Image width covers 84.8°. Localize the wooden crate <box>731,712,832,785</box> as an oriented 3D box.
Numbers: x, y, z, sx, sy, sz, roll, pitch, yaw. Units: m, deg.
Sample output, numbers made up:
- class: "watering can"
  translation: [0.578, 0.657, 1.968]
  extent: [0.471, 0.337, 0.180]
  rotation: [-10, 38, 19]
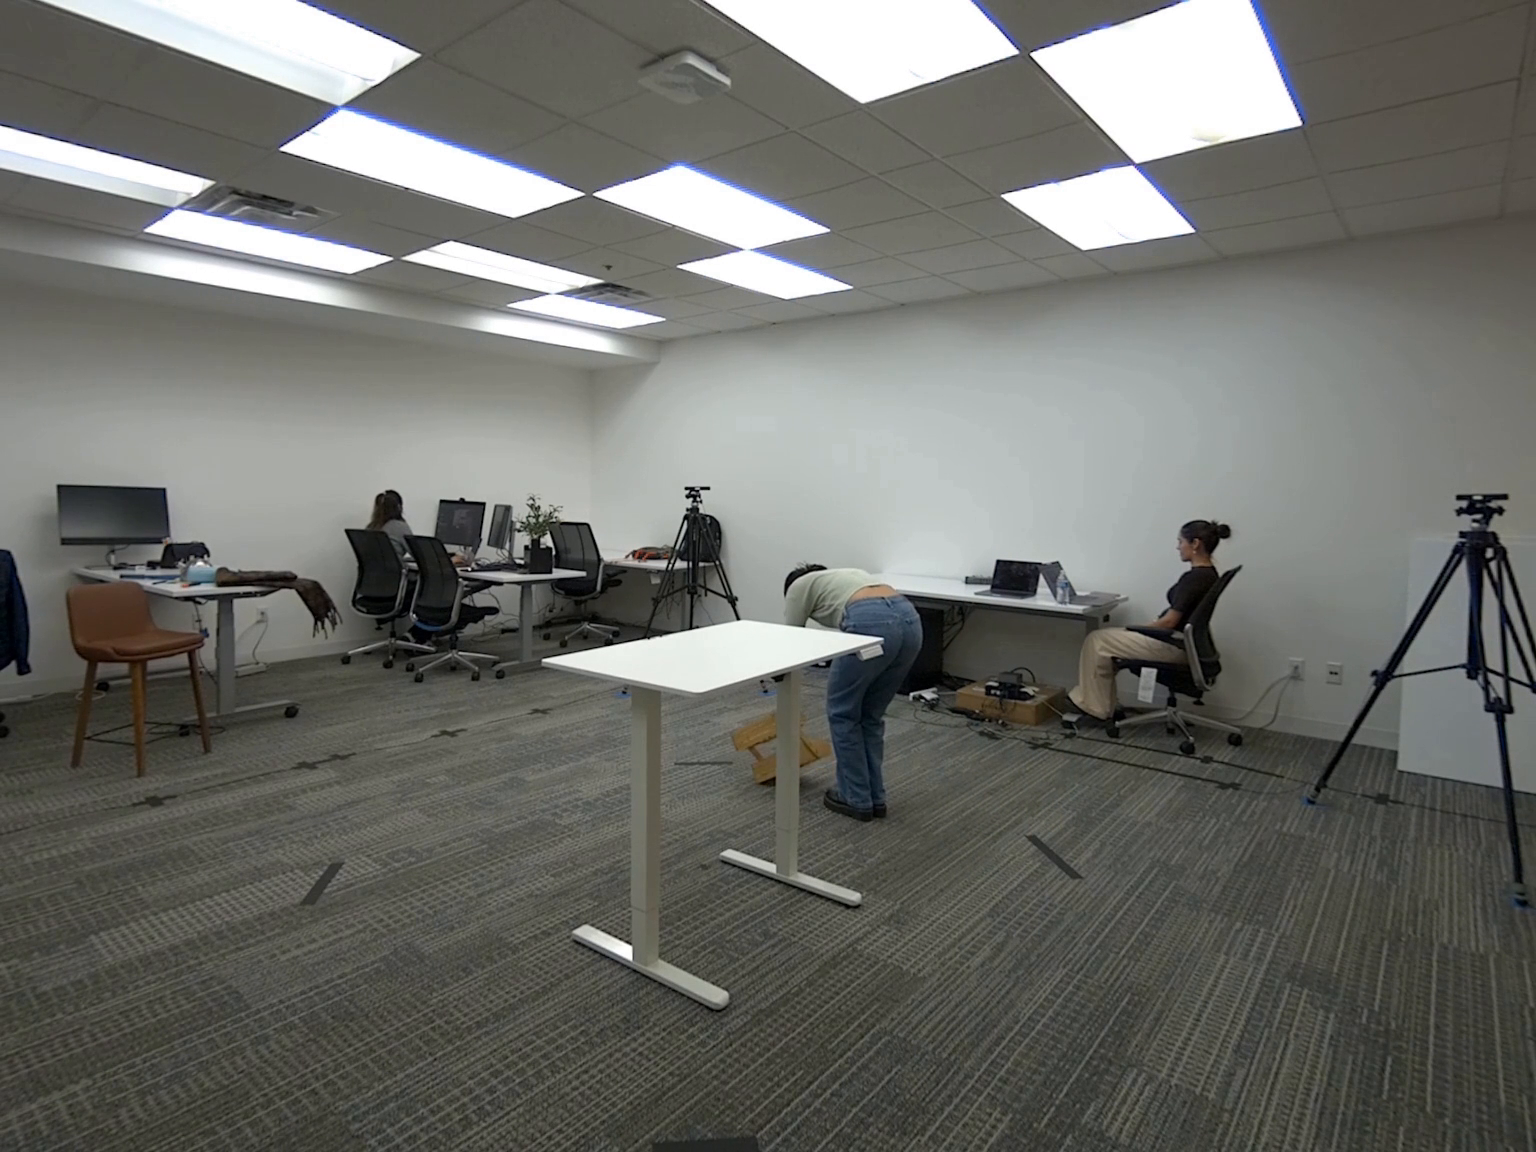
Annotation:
- class: "wooden crate"
  translation: [0.054, 0.787, 4.034]
  extent: [0.327, 0.279, 0.293]
  rotation: [-34, -20, 36]
